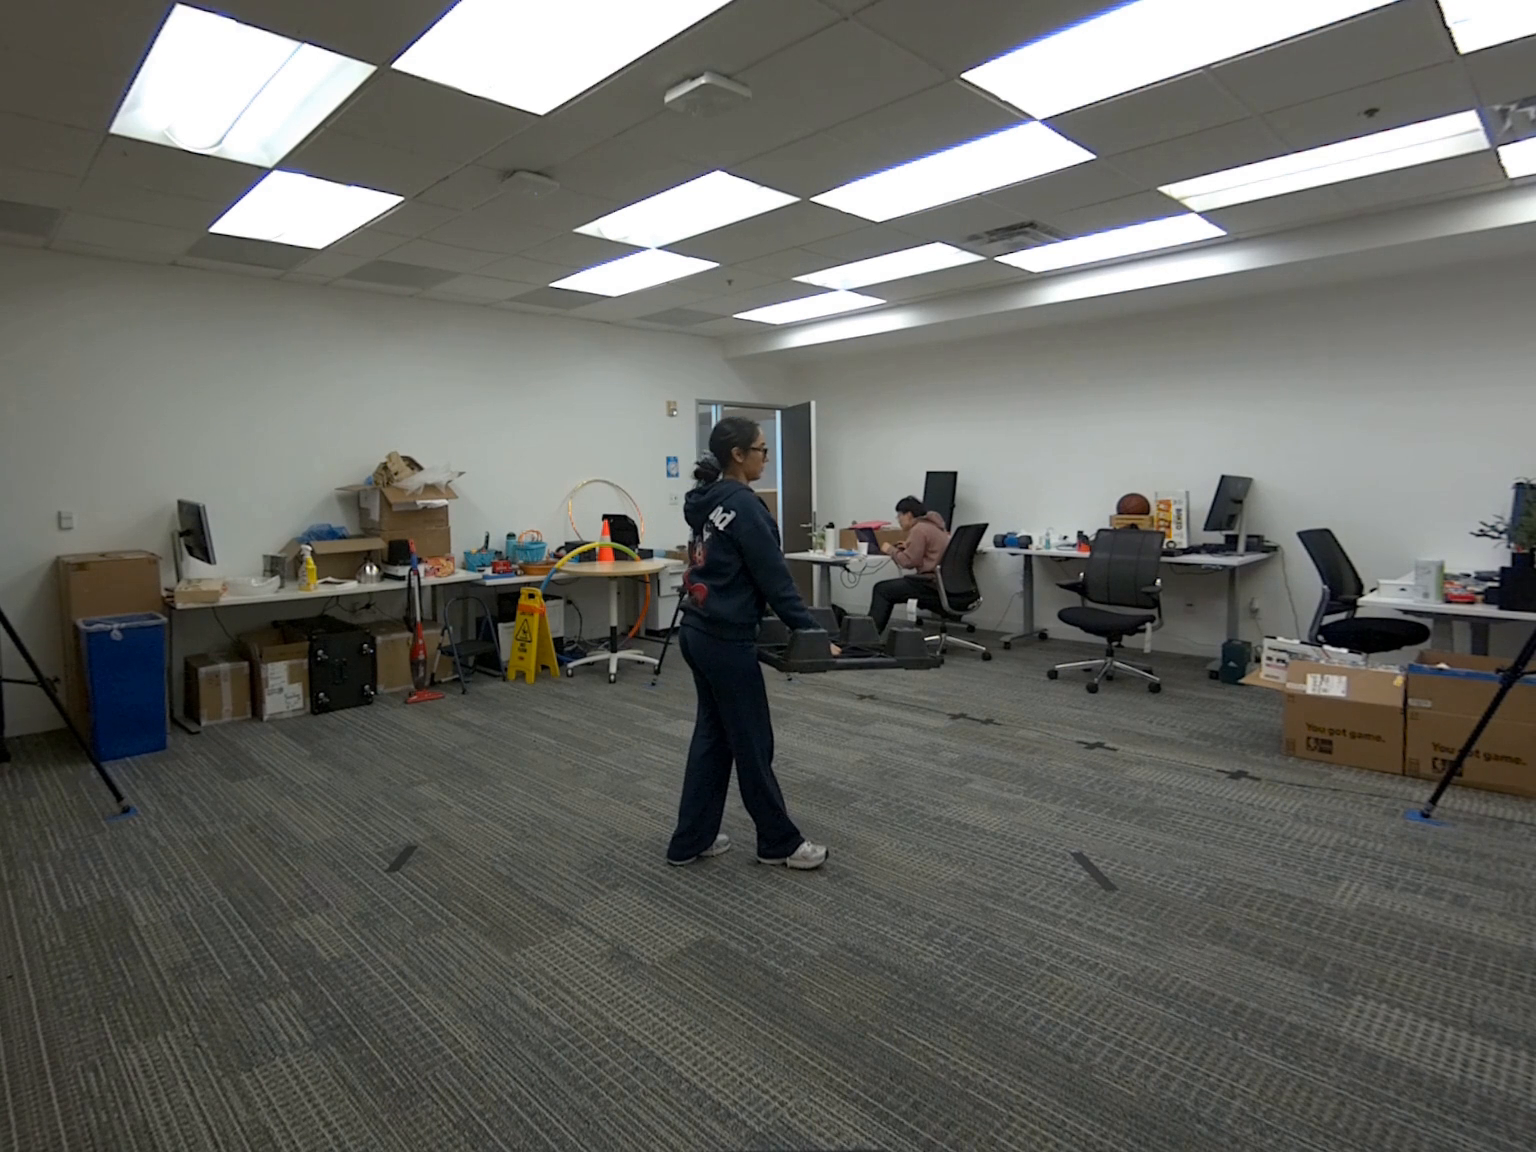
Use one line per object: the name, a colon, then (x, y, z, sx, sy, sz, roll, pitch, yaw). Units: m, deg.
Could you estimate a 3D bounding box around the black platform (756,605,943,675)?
black platform: (0.179, 0.220, 3.233, 0.593, 0.143, 0.823, 1, 4, -22)
